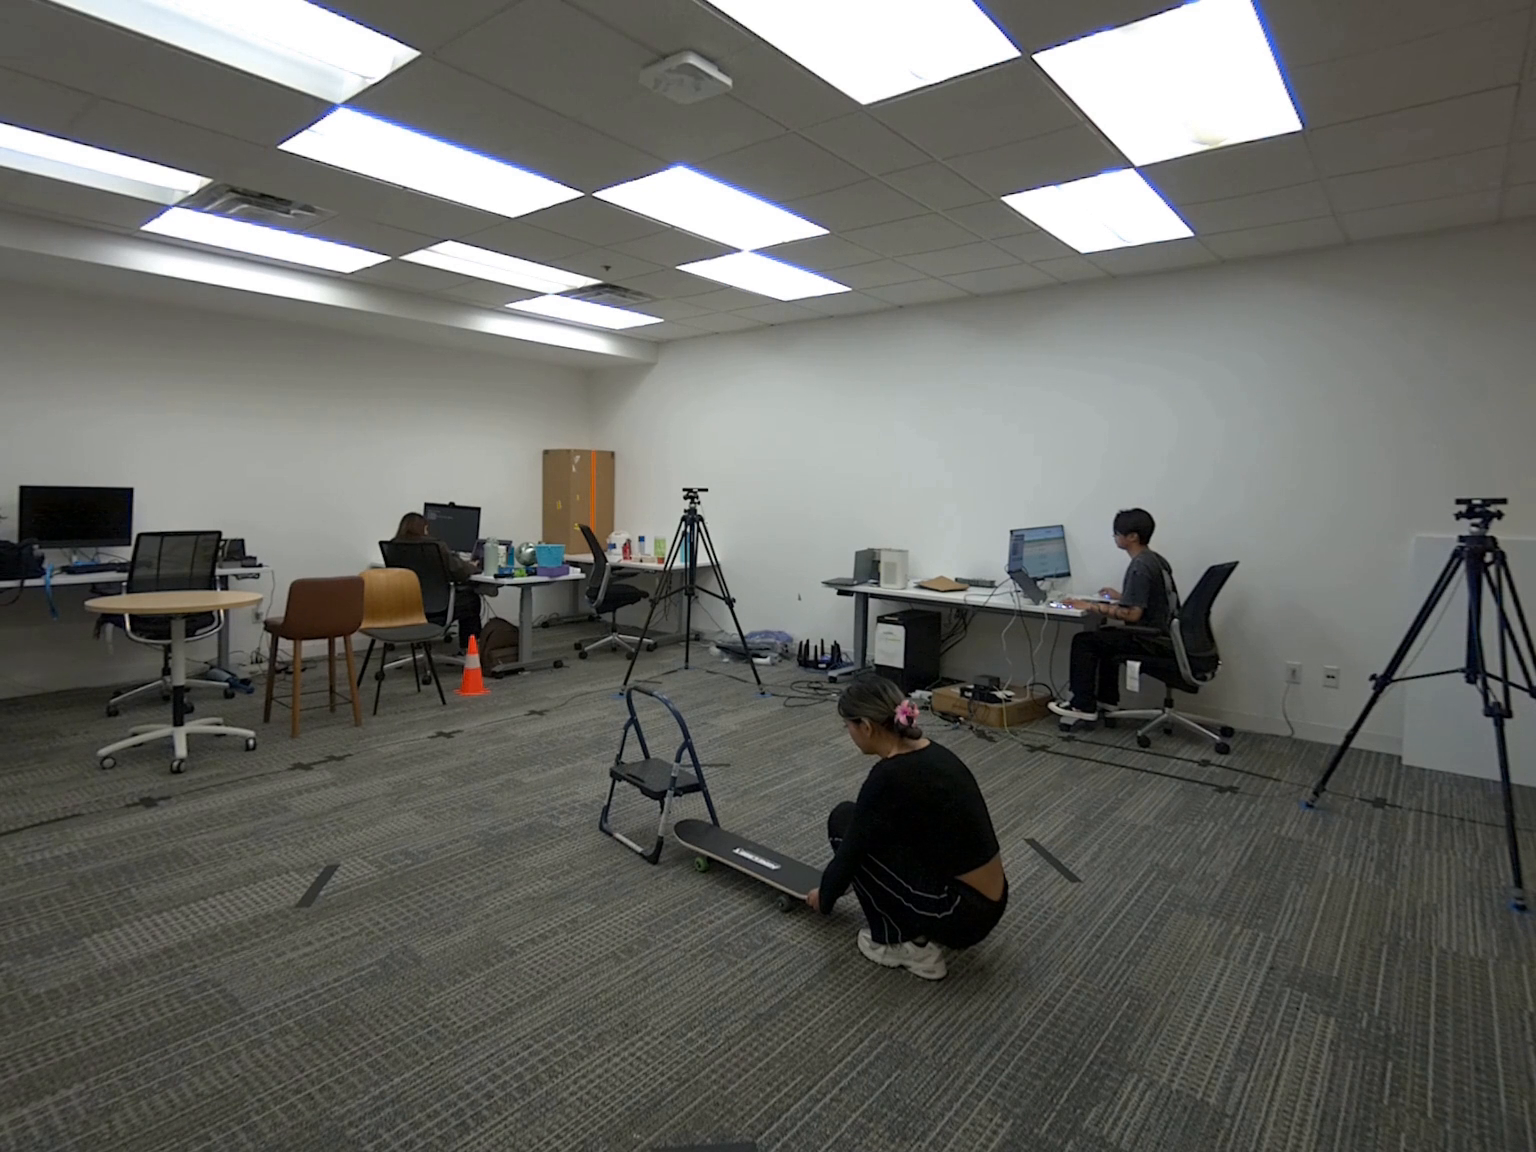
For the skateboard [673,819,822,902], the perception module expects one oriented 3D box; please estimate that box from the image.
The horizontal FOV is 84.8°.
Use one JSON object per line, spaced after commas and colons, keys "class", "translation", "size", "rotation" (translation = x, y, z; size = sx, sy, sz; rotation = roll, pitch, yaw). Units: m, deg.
{"class": "skateboard", "translation": [-0.054, 1.021, 3.007], "size": [0.813, 0.110, 0.188], "rotation": [7, 8, 43]}
